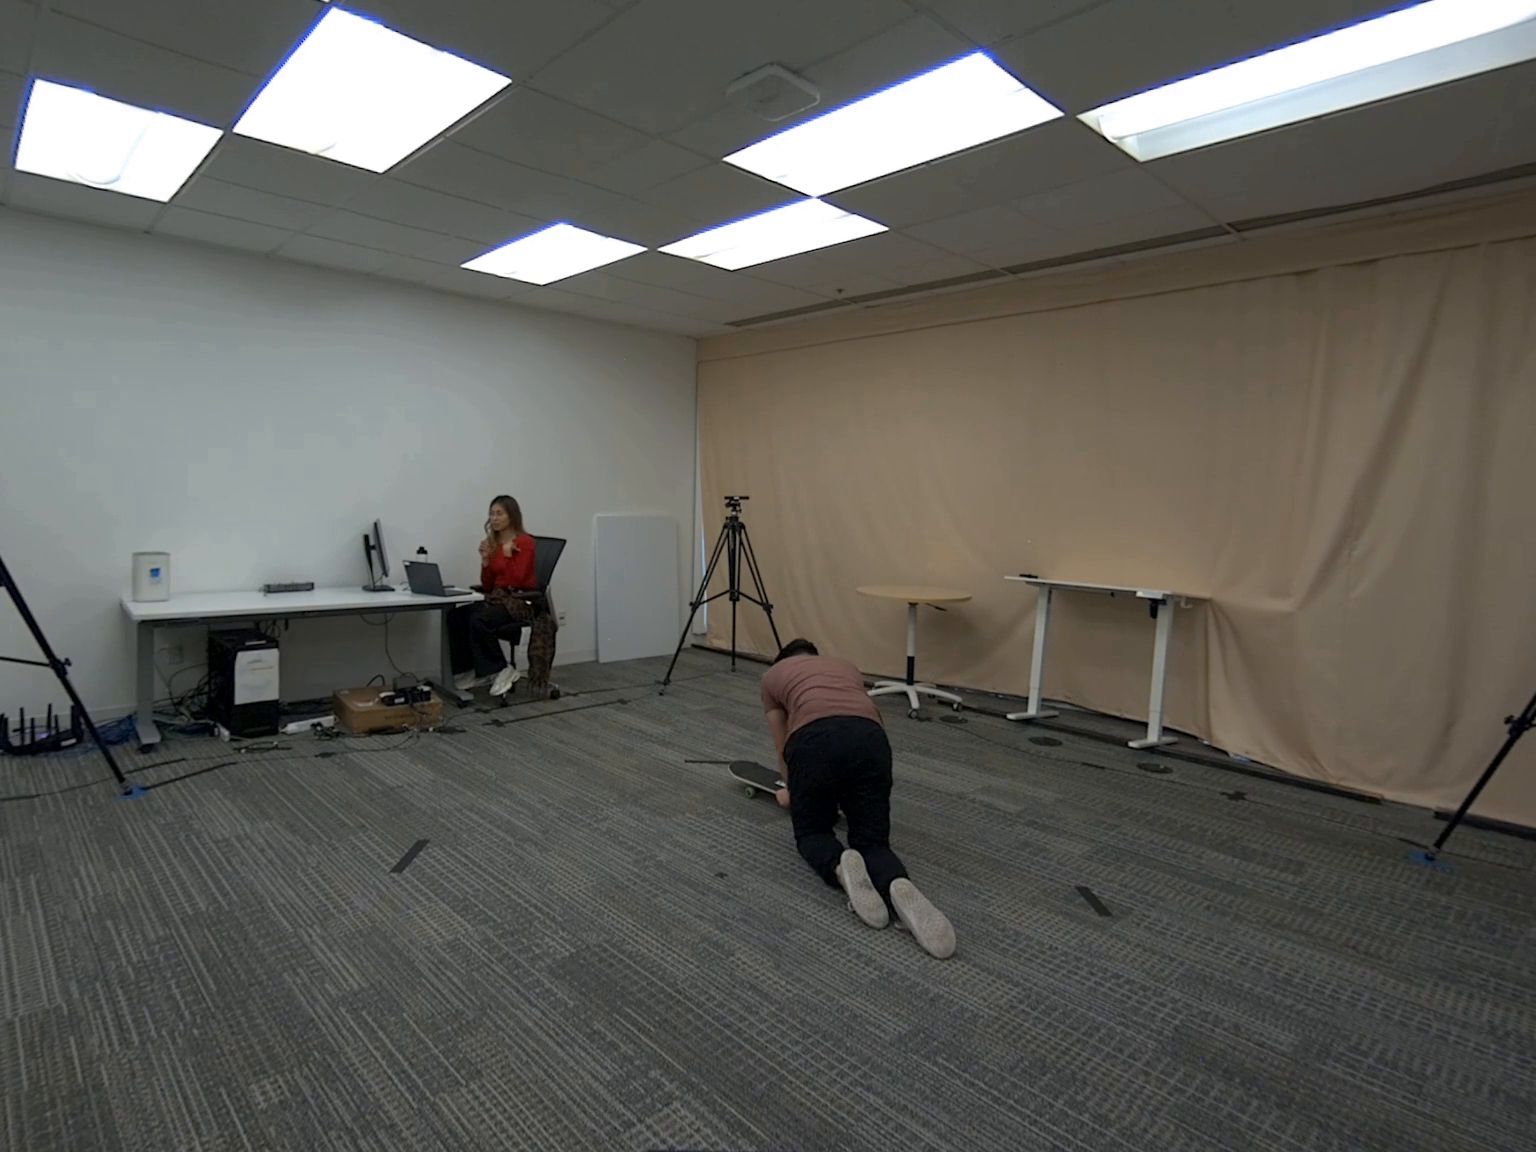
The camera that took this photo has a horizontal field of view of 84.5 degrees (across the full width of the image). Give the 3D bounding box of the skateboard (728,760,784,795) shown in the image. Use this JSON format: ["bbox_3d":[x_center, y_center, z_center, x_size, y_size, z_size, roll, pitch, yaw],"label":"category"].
[{"bbox_3d":[0.106,0.995,3.831,0.189,0.110,0.806,-6,9,-42],"label":"skateboard"}]
